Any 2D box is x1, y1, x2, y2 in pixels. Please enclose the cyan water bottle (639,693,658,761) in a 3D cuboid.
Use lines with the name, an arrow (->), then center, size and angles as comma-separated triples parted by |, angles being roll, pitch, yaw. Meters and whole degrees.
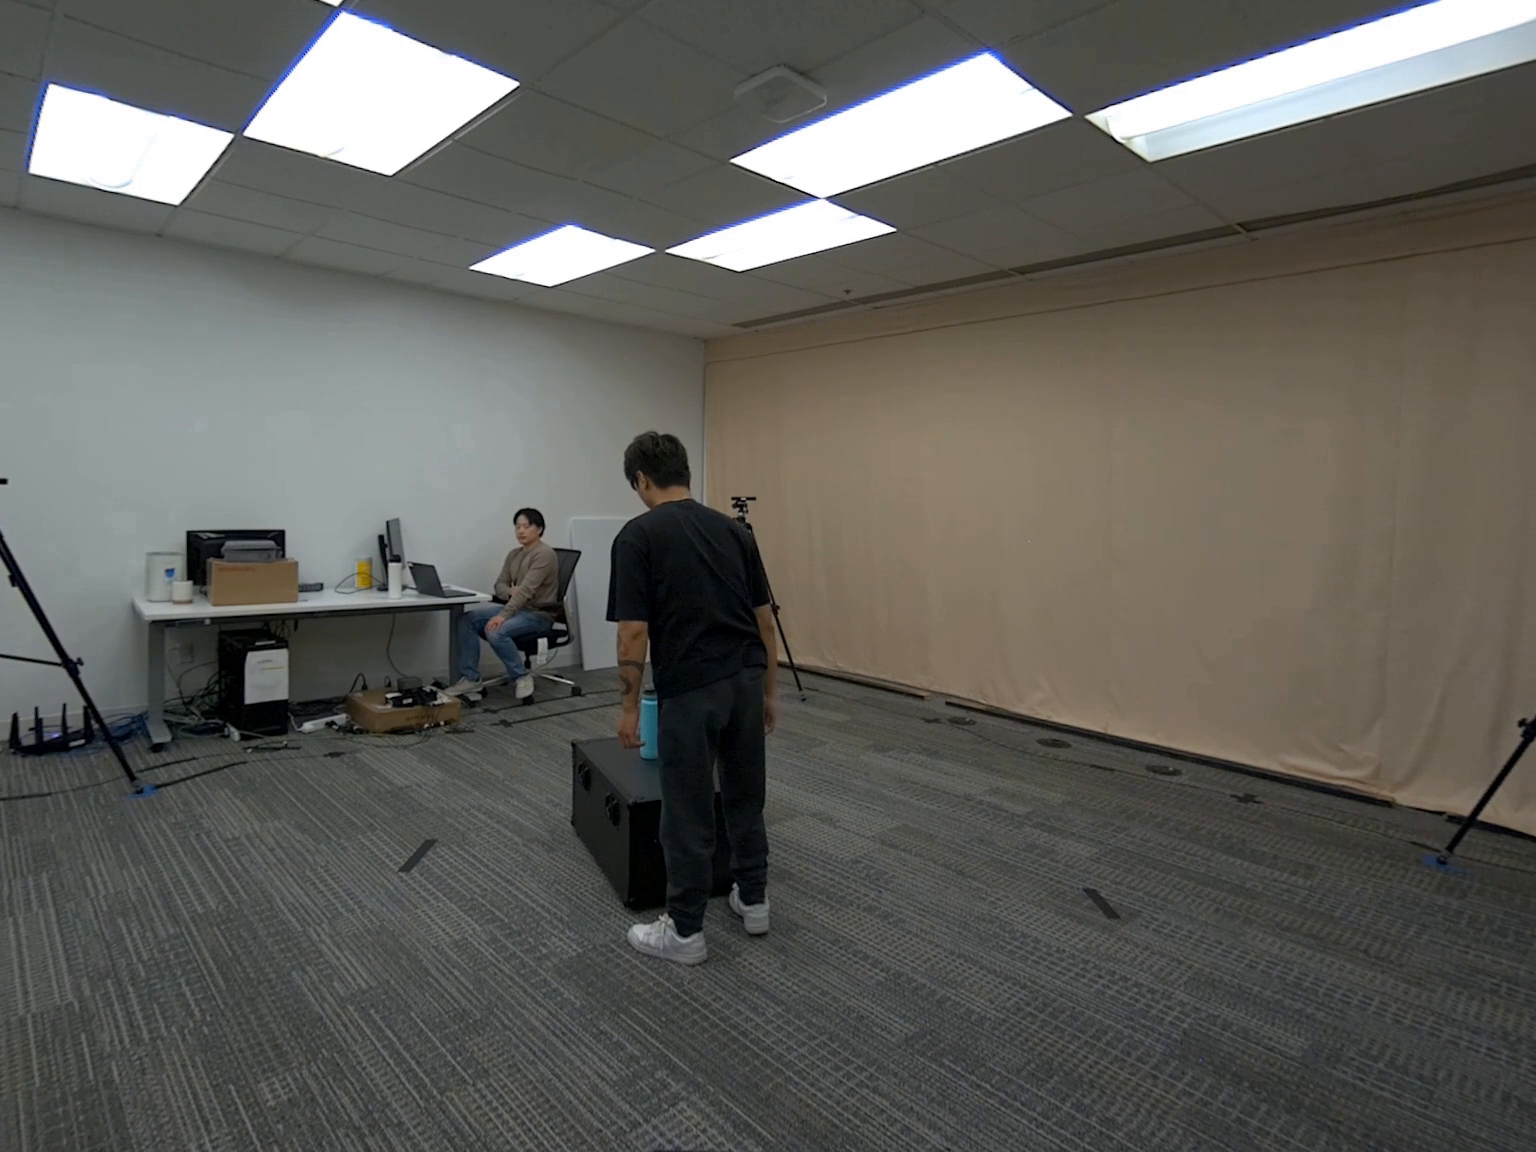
cyan water bottle -> -0.466, 0.572, 3.314 | 0.092, 0.283, 0.092 | 2, 0, -1
